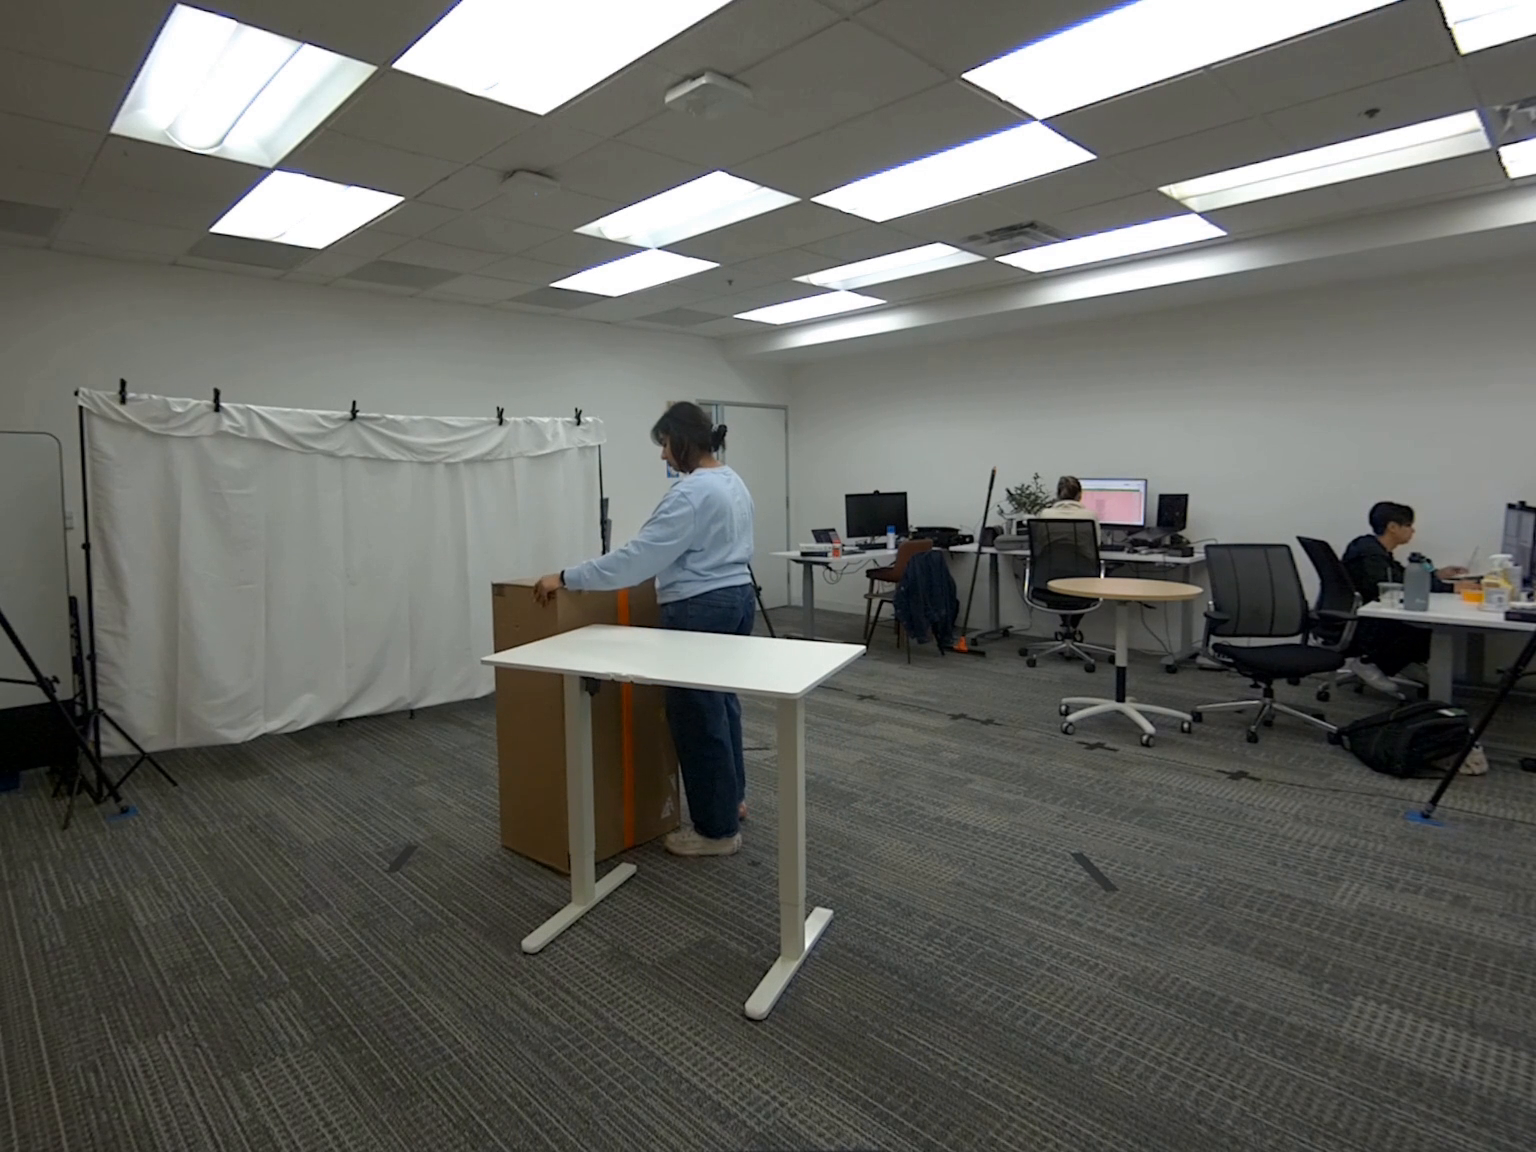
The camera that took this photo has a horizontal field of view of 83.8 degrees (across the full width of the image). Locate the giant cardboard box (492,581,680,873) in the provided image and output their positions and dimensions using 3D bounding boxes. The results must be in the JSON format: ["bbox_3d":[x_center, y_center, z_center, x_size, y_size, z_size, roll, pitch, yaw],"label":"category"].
[{"bbox_3d":[-0.713,0.520,3.362,0.438,1.024,0.562,0,3,40],"label":"giant cardboard box"}]
